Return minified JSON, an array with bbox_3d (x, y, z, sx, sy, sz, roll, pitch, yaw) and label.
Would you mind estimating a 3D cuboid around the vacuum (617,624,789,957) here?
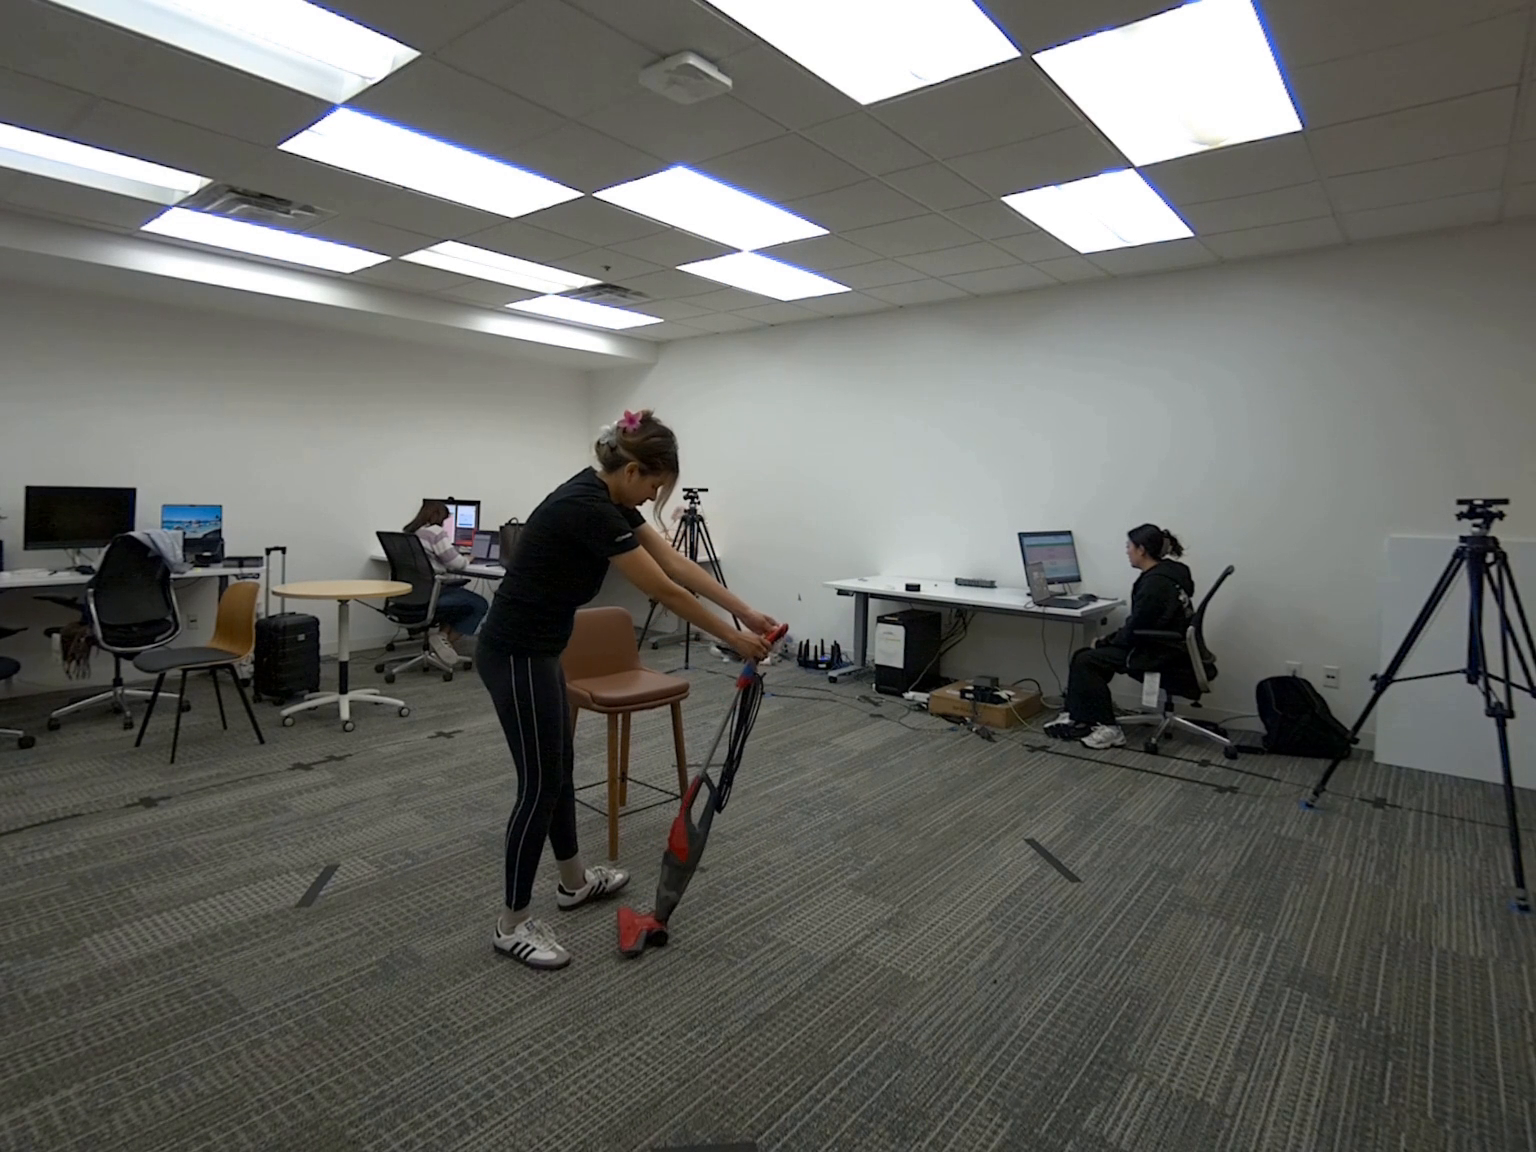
[{"bbox_3d":[-0.162,0.640,2.631,0.144,1.050,0.252,28,-1,-2],"label":"vacuum"}]
